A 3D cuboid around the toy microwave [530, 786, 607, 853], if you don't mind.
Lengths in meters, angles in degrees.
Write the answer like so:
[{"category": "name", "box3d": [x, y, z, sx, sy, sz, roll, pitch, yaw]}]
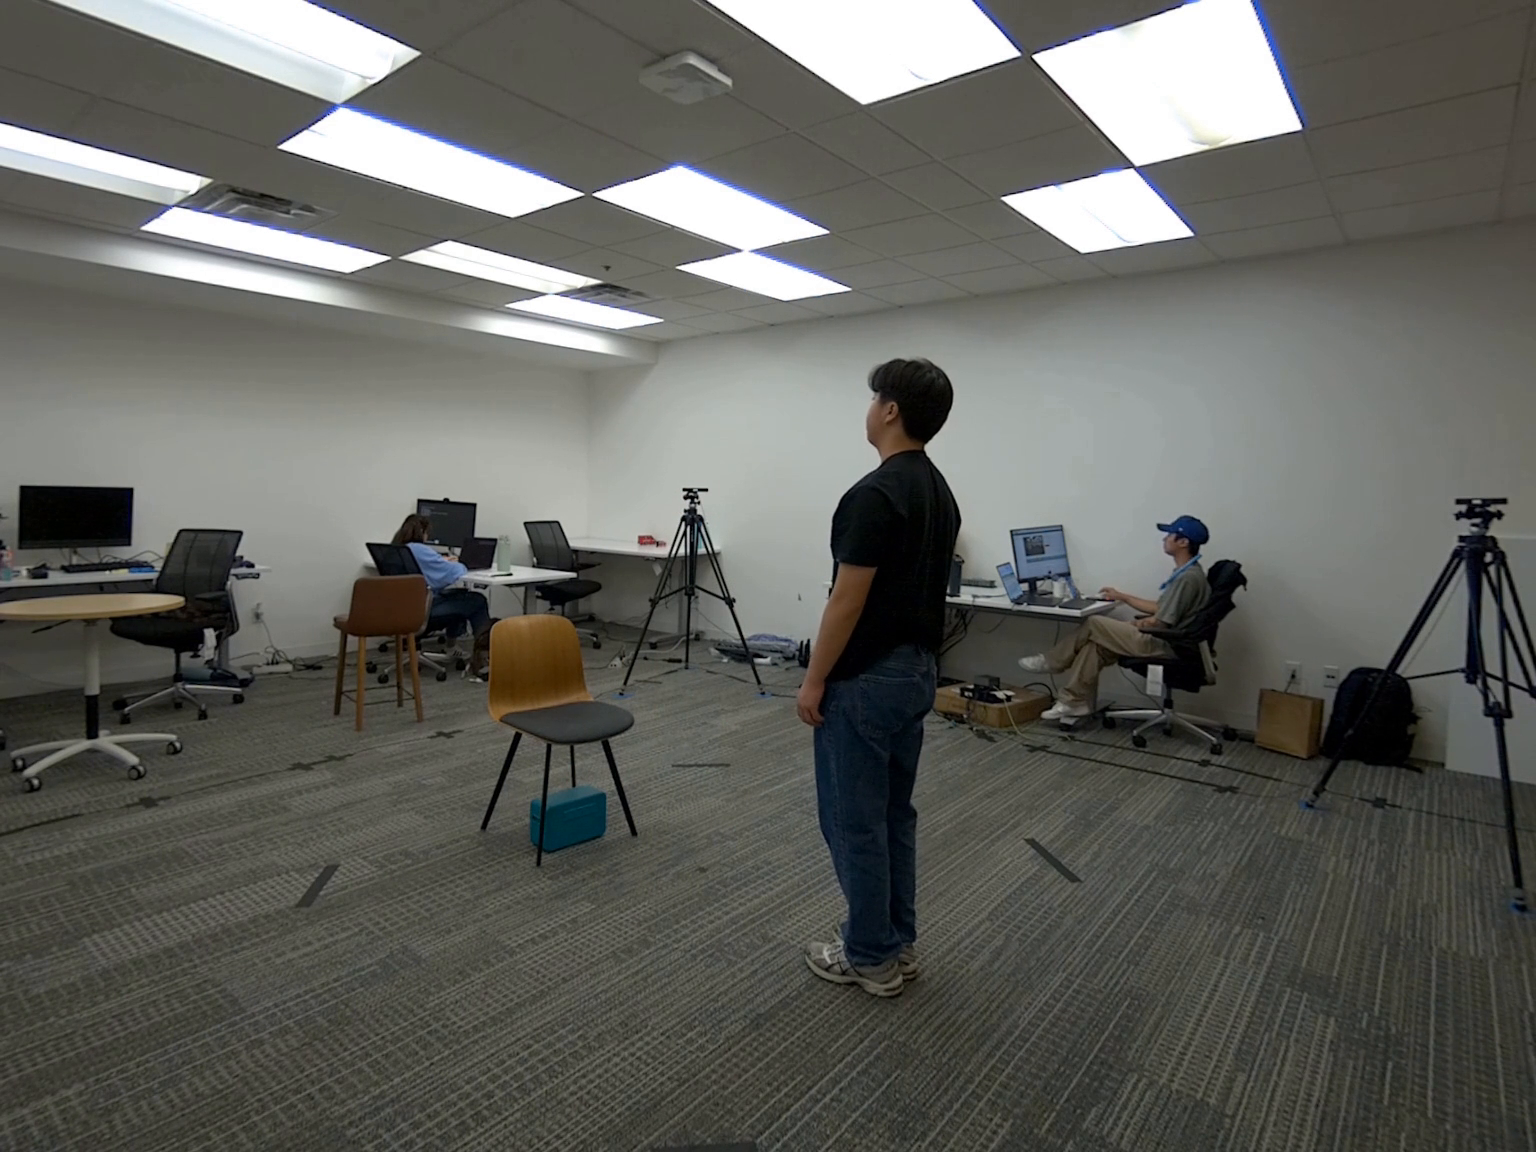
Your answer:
[{"category": "toy microwave", "box3d": [-0.806, 0.947, 3.343, 0.277, 0.183, 0.157, -3, 5, -44]}]
